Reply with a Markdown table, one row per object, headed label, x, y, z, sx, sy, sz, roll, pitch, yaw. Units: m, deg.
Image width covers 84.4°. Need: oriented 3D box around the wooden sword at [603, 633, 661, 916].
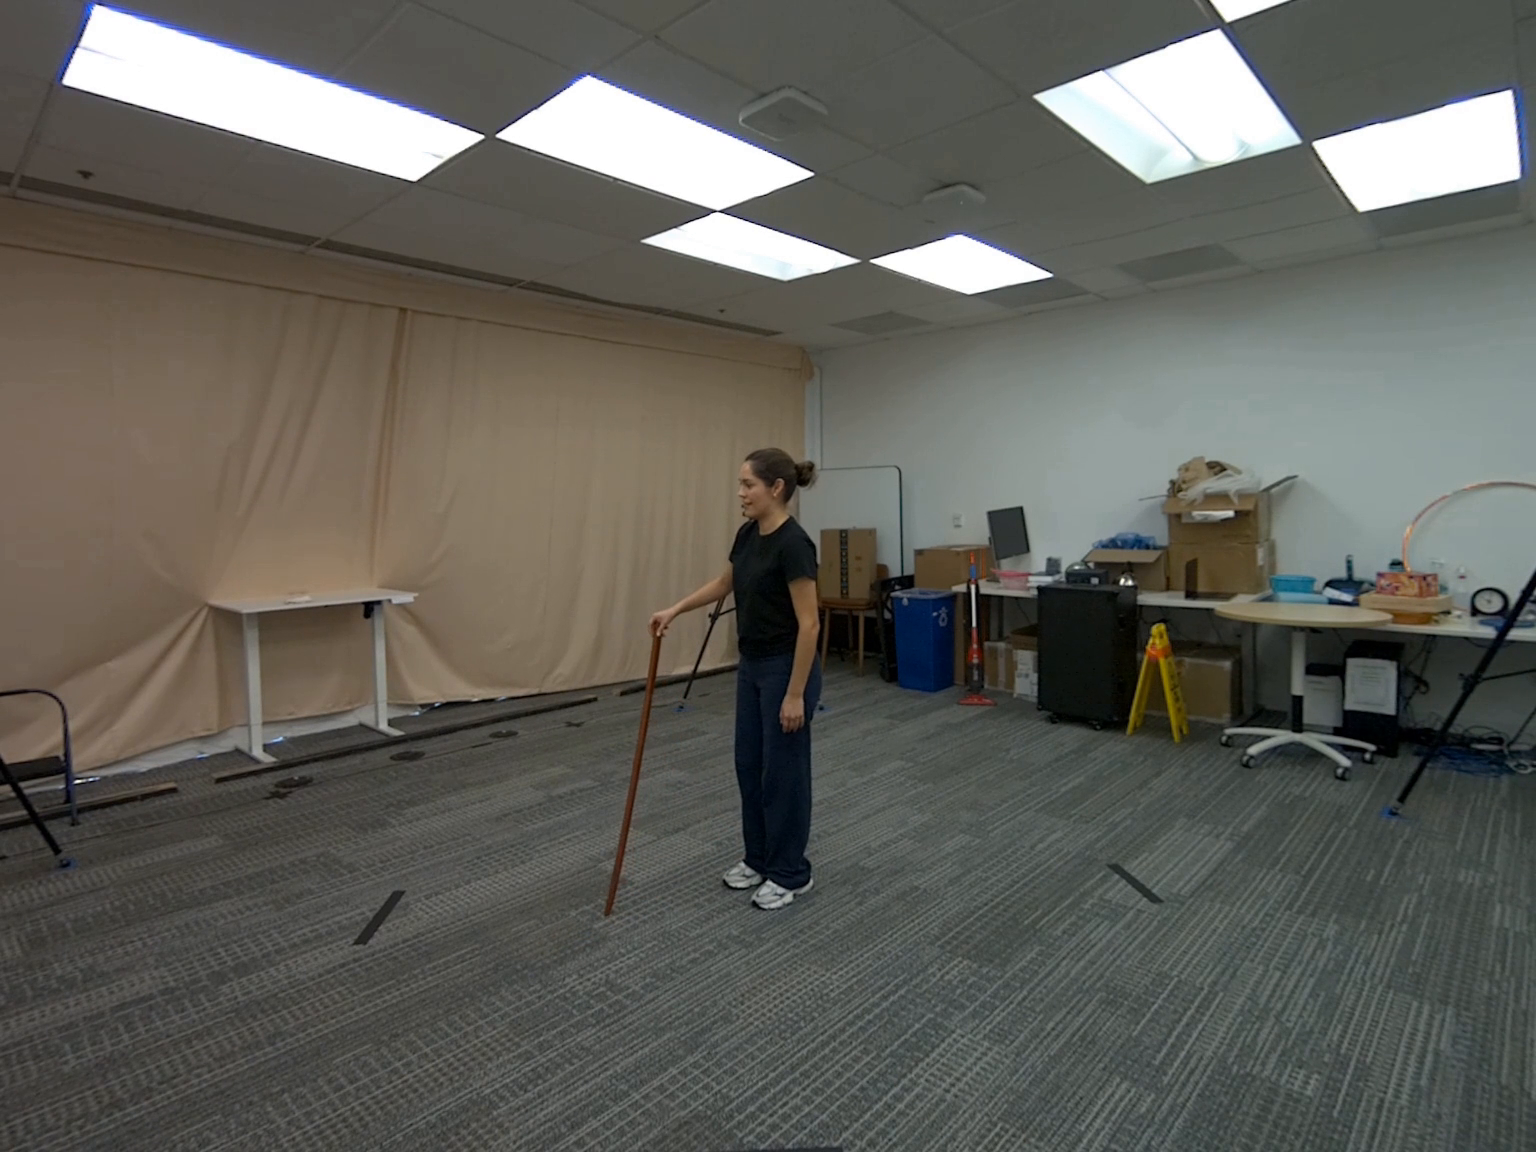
| label | x | y | z | sx | sy | sz | roll | pitch | yaw |
| --- | --- | --- | --- | --- | --- | --- | --- | --- | --- |
| wooden sword | -0.455 | 0.667 | 3.008 | 0.050 | 1.031 | 0.024 | 11 | -13 | -16 |
